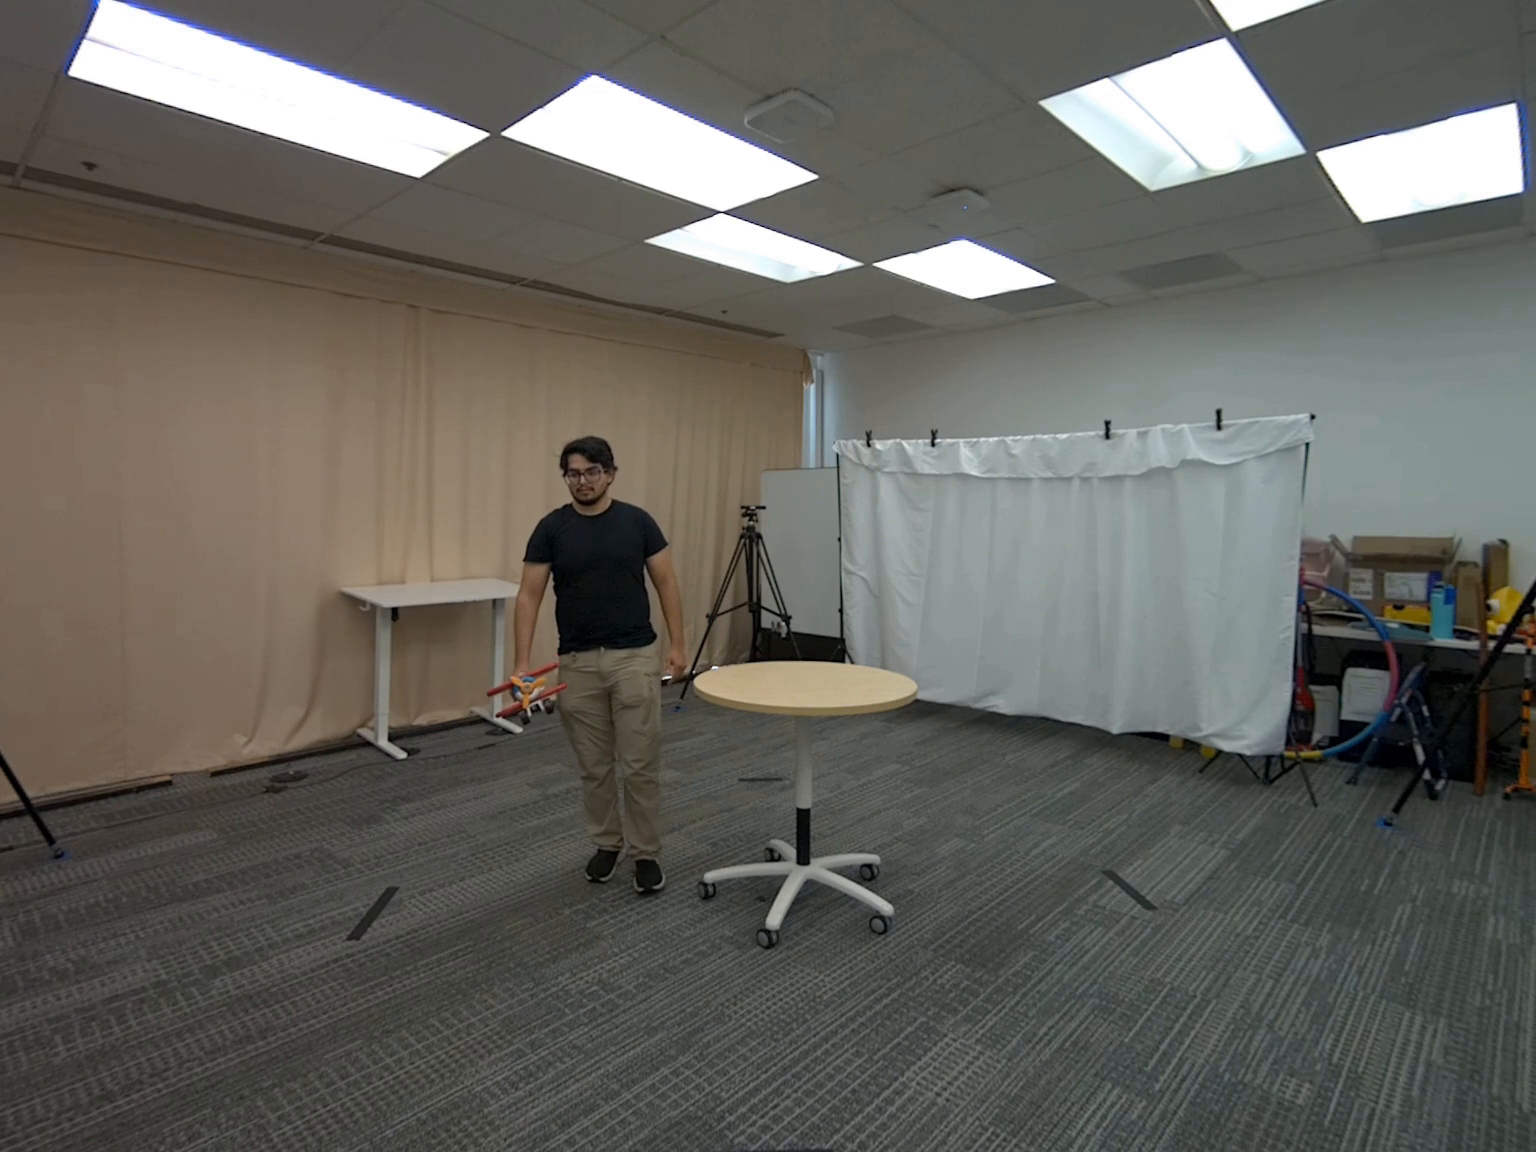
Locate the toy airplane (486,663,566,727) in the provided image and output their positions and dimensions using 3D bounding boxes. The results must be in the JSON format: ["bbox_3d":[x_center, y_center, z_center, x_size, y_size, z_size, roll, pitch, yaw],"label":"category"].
[{"bbox_3d":[-0.843,0.415,2.908,0.266,0.155,0.246,-14,8,41],"label":"toy airplane"}]
